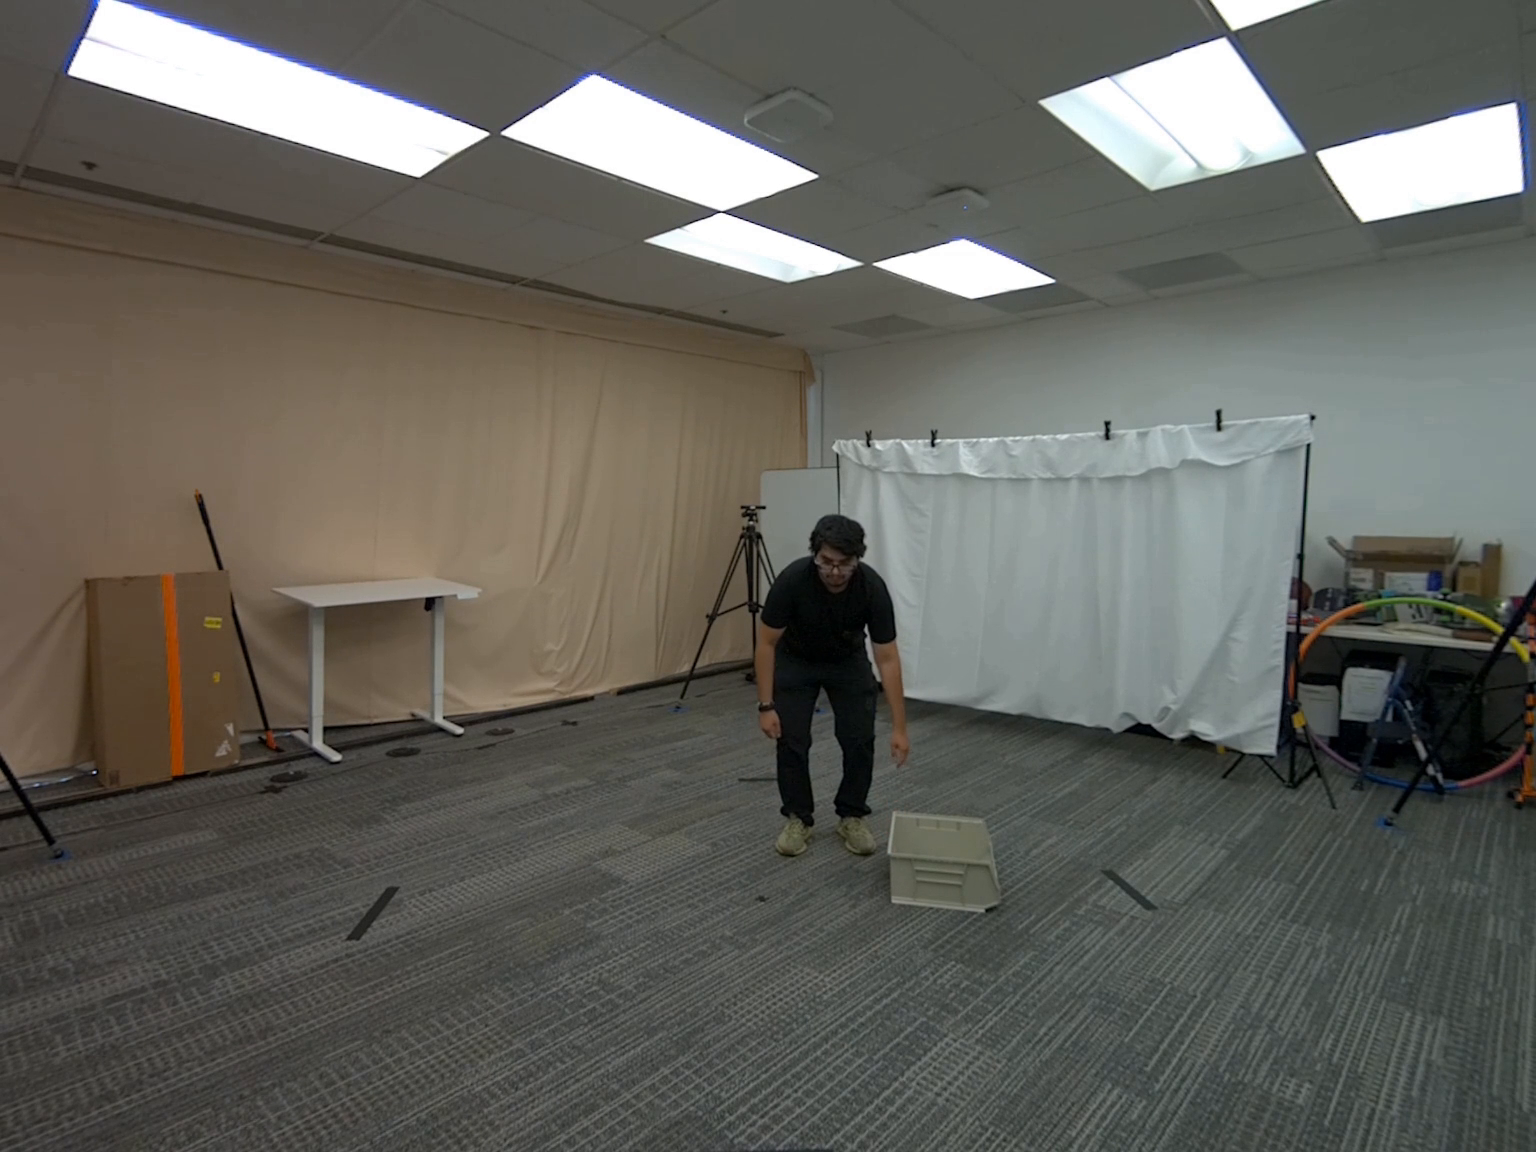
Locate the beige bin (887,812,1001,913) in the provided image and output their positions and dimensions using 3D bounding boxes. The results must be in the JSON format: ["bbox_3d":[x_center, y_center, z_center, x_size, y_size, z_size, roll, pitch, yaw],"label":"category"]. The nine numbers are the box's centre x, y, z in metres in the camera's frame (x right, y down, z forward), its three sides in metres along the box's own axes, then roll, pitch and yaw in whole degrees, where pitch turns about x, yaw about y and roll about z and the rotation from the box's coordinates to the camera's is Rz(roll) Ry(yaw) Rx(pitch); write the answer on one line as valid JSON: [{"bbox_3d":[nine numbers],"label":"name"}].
[{"bbox_3d":[0.651,1.044,3.100,0.383,0.188,0.417,0,5,12],"label":"beige bin"}]
